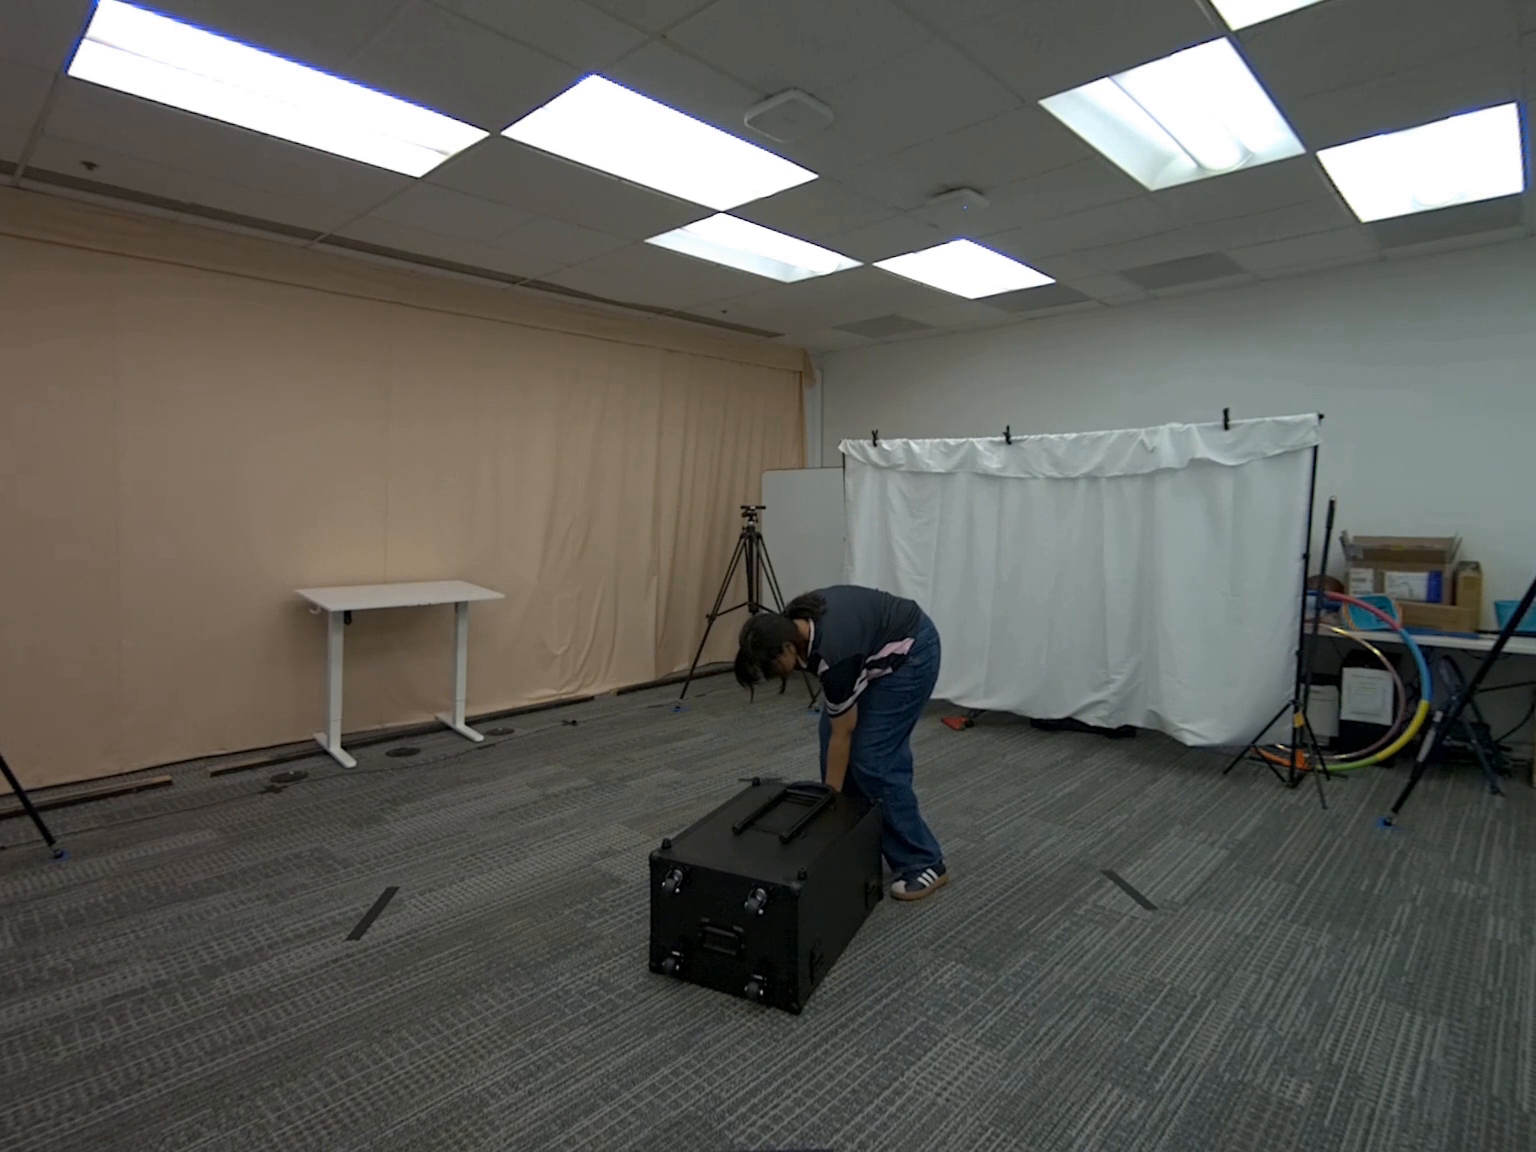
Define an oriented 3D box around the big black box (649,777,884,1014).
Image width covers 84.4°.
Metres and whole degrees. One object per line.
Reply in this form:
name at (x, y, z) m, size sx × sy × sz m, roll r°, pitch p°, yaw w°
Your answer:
big black box at (0.019, 0.981, 2.701) m, size 0.537 × 0.384 × 0.848 m, roll 3°, pitch 6°, yaw 25°
